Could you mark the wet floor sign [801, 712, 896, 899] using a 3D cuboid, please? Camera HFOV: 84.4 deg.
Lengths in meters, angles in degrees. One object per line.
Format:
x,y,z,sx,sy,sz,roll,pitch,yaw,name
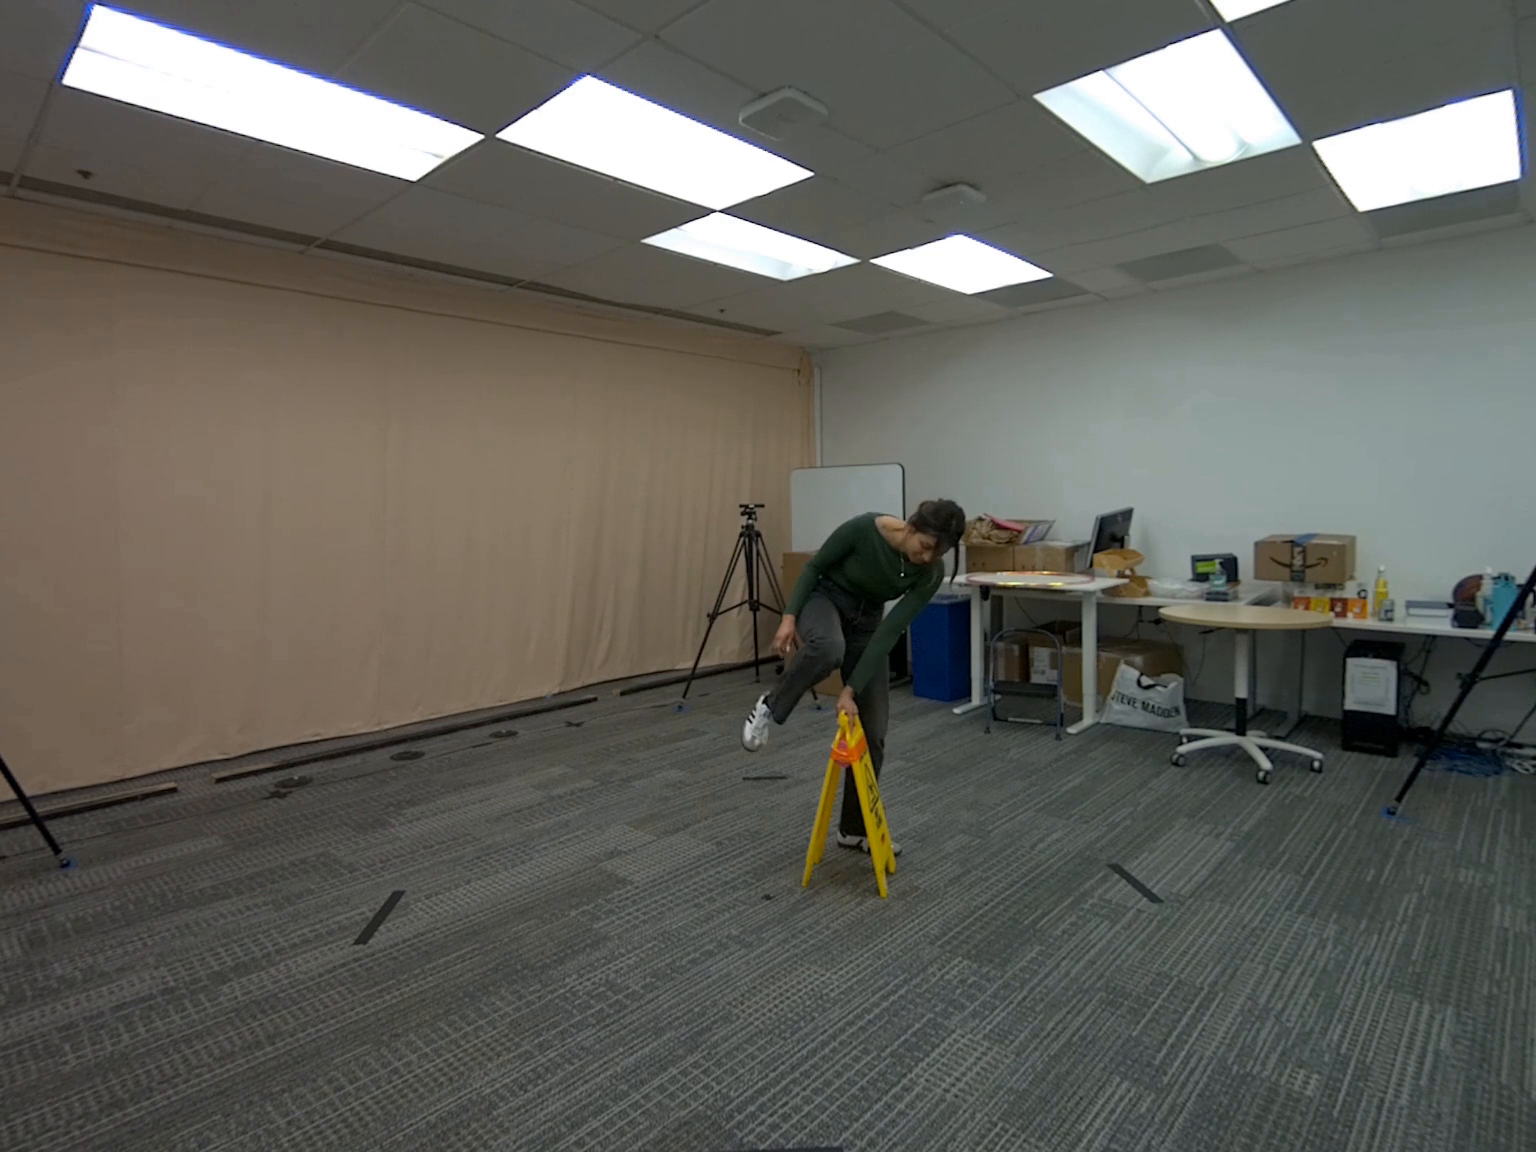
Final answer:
0.296,0.793,3.110,0.295,0.644,0.277,0,4,18,wet floor sign
